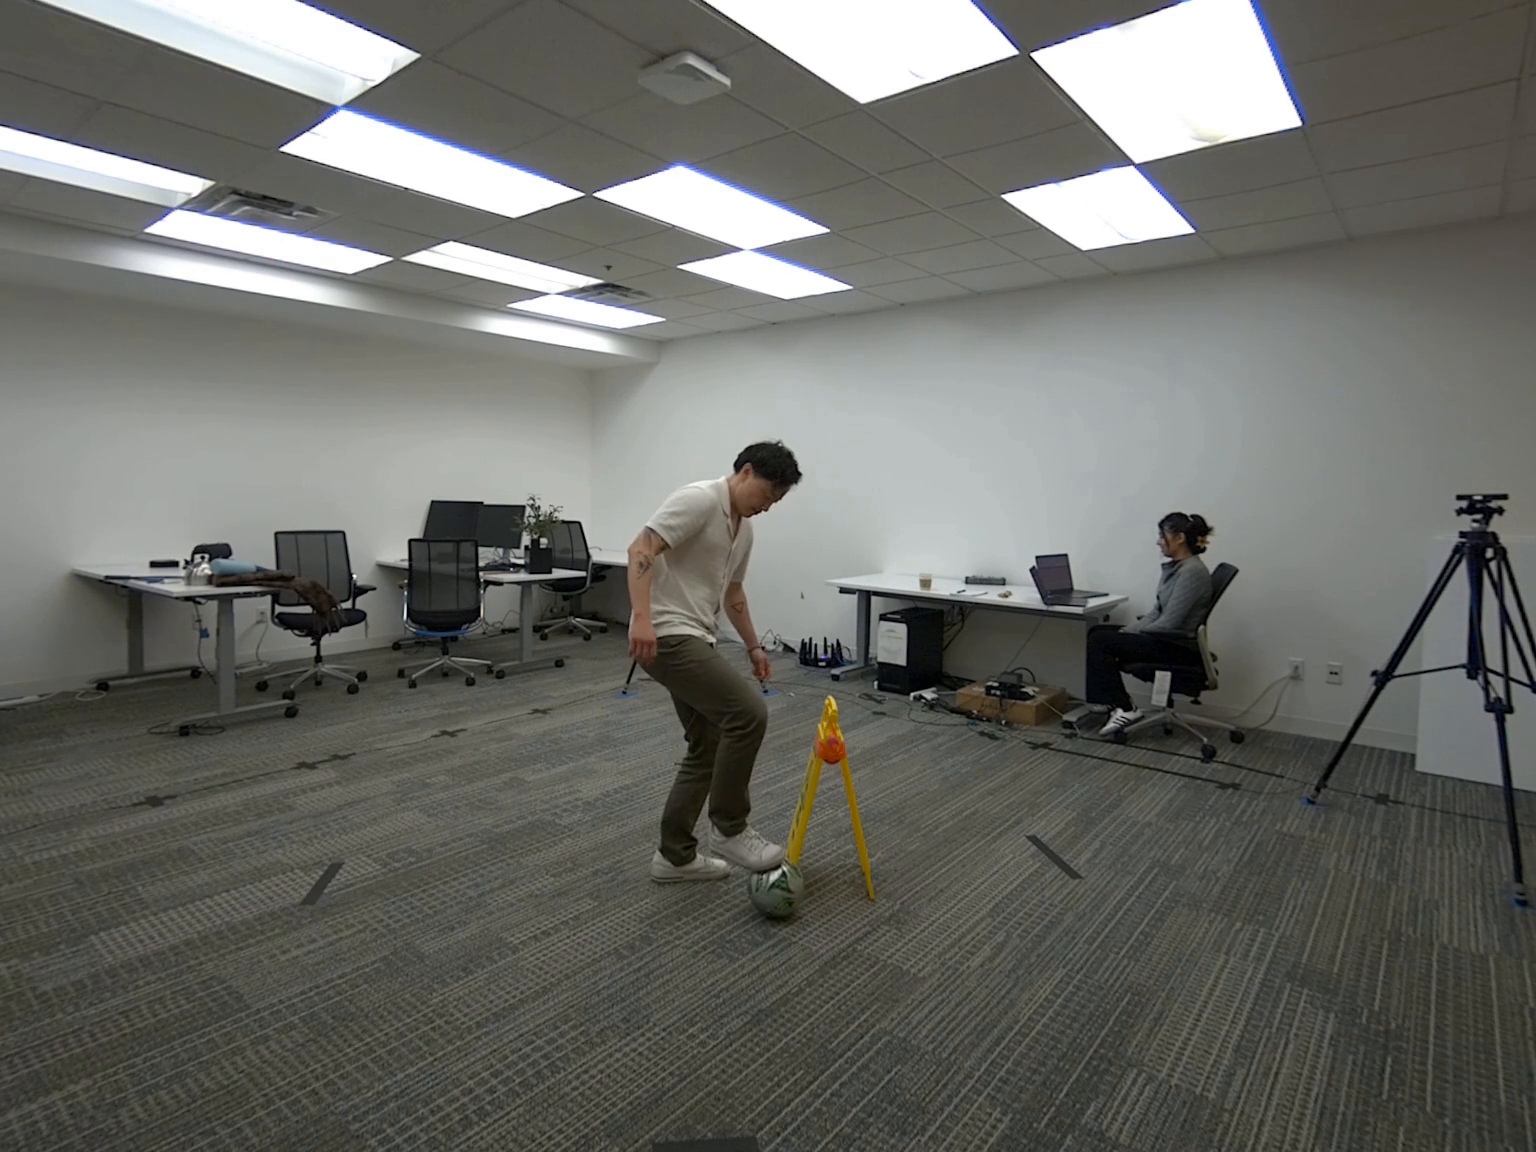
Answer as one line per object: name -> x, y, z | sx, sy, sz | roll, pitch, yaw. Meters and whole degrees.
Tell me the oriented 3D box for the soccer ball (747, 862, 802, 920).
soccer ball -> 0.013, 1.010, 2.777 | 0.187, 0.187, 0.188 | 0, 4, -2
